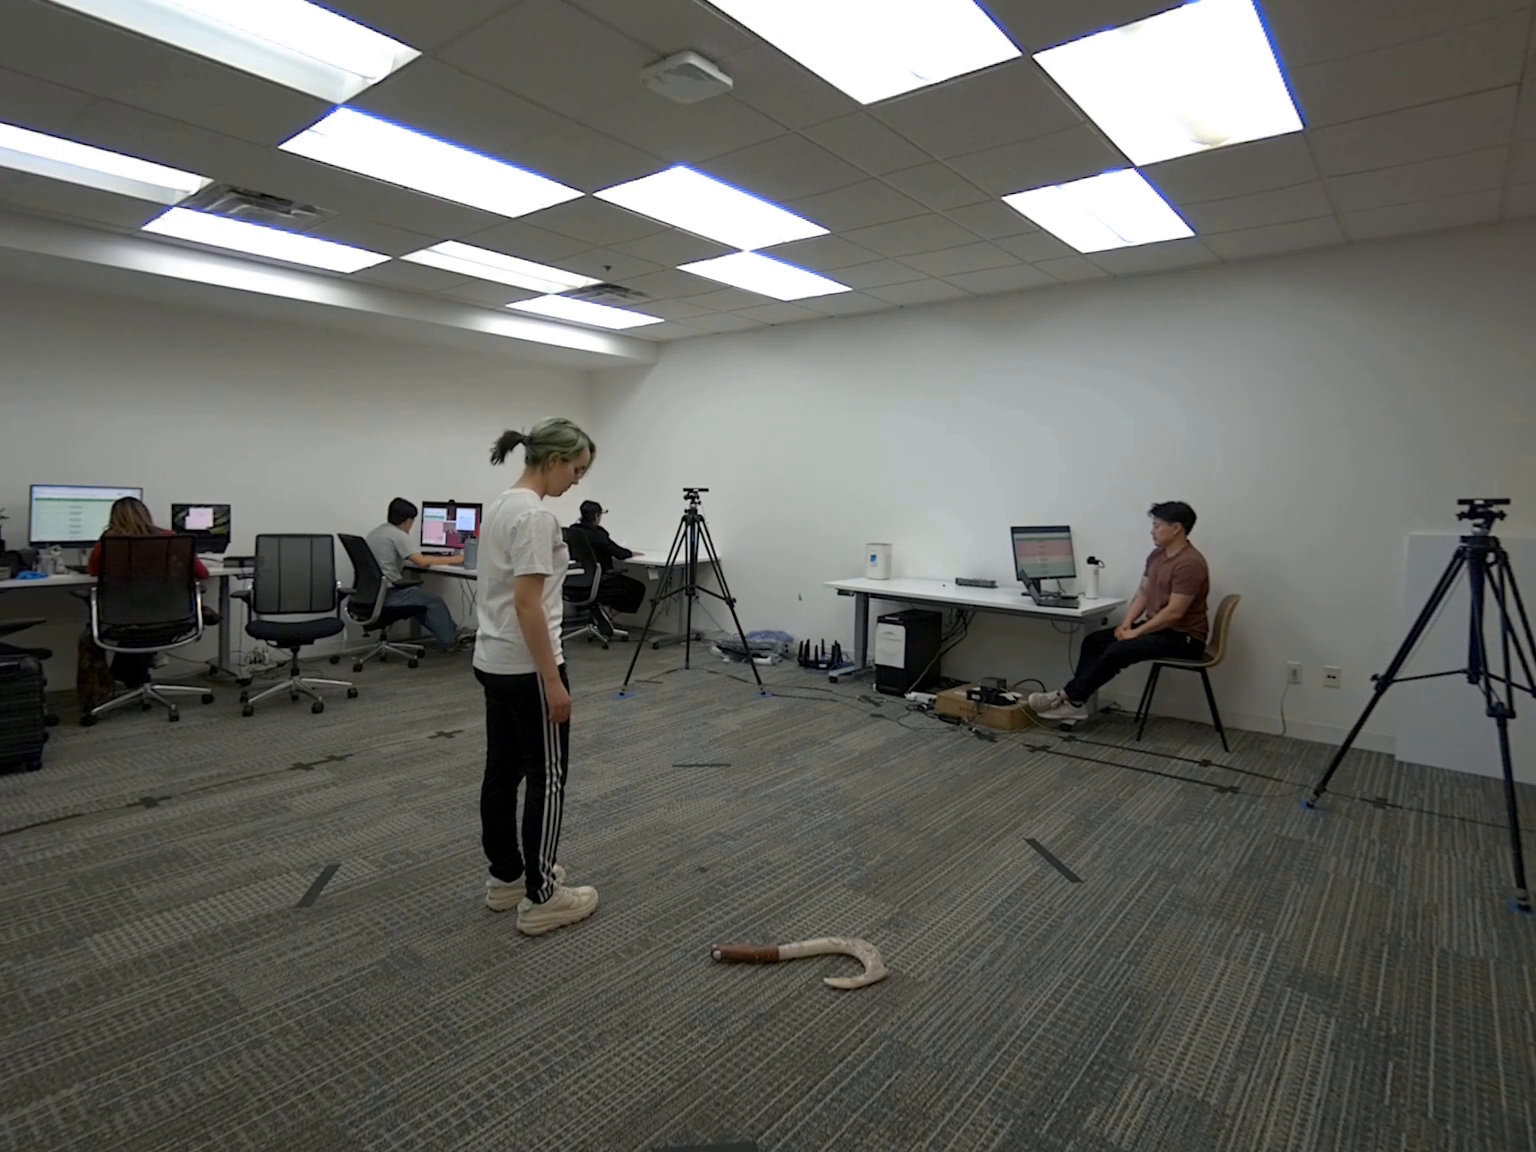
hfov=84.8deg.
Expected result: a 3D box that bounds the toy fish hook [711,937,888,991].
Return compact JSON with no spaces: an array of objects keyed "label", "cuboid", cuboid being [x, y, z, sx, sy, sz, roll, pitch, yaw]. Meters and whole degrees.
[{"label":"toy fish hook","cuboid":[0.084,1.115,2.468,0.504,0.048,0.226,1,5,-5]}]
